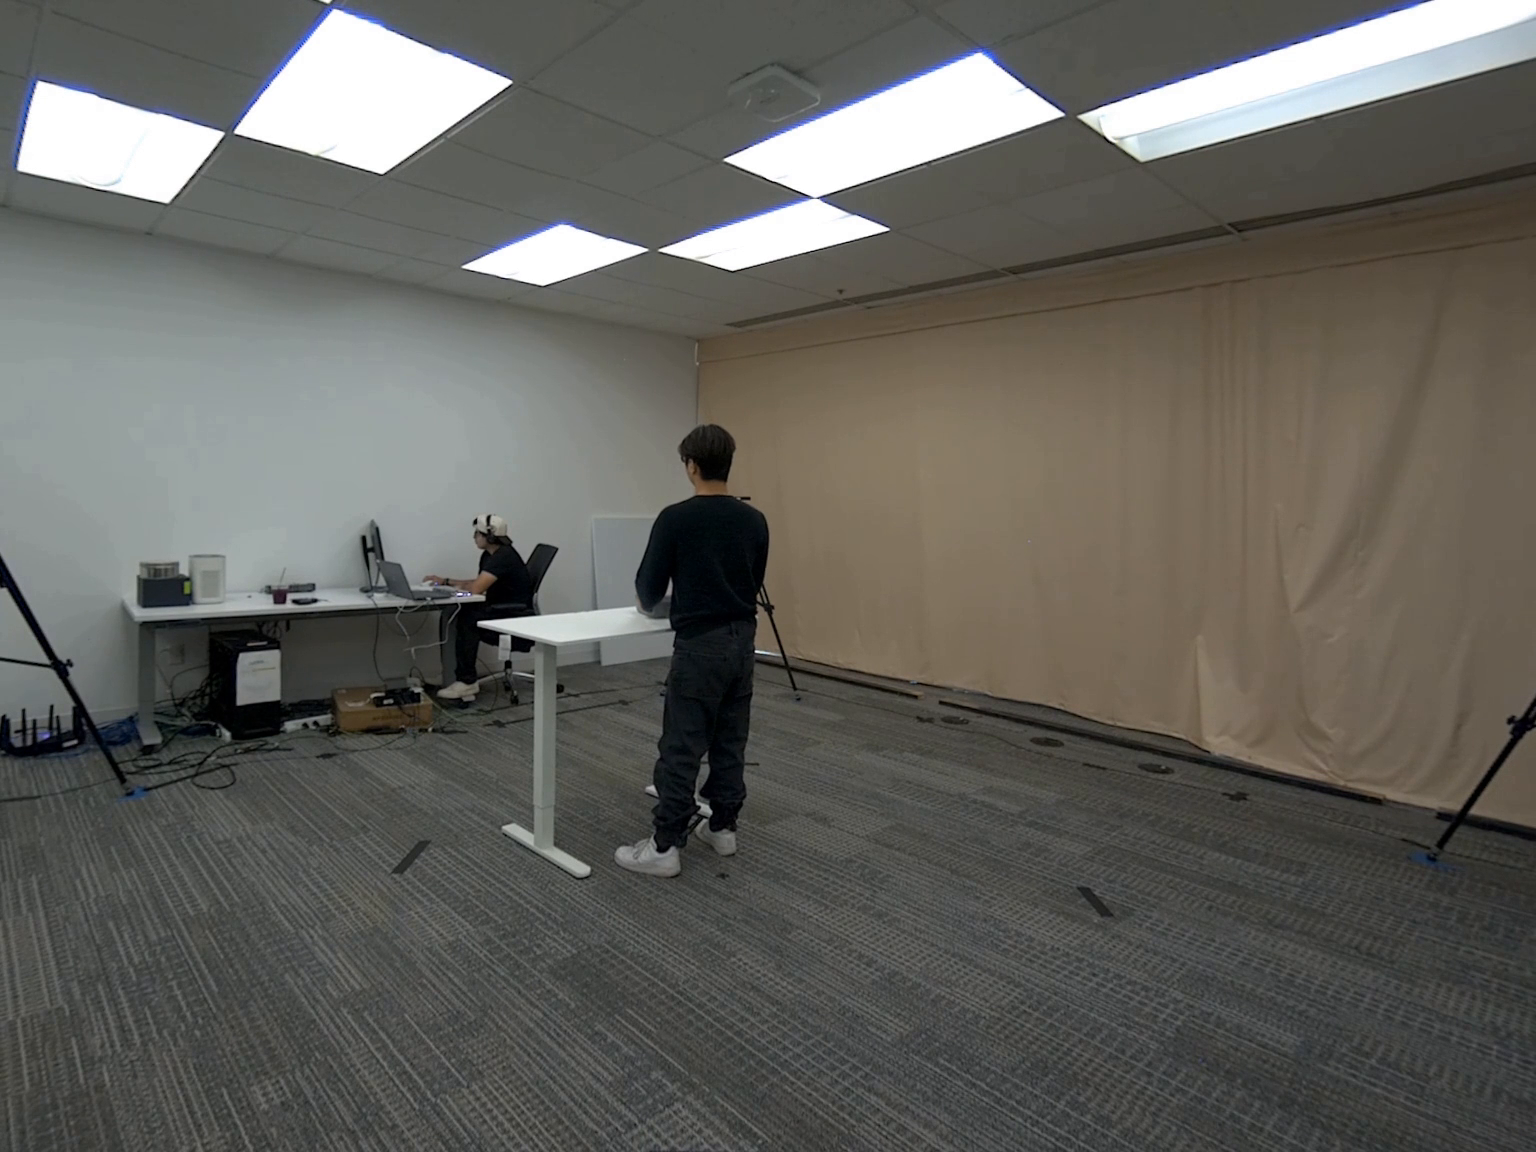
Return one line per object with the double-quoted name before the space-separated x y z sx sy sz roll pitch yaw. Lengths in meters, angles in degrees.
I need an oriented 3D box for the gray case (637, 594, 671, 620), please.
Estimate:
"gray case" -0.428 0.116 3.662 0.252 0.104 0.266 -1 5 -28
